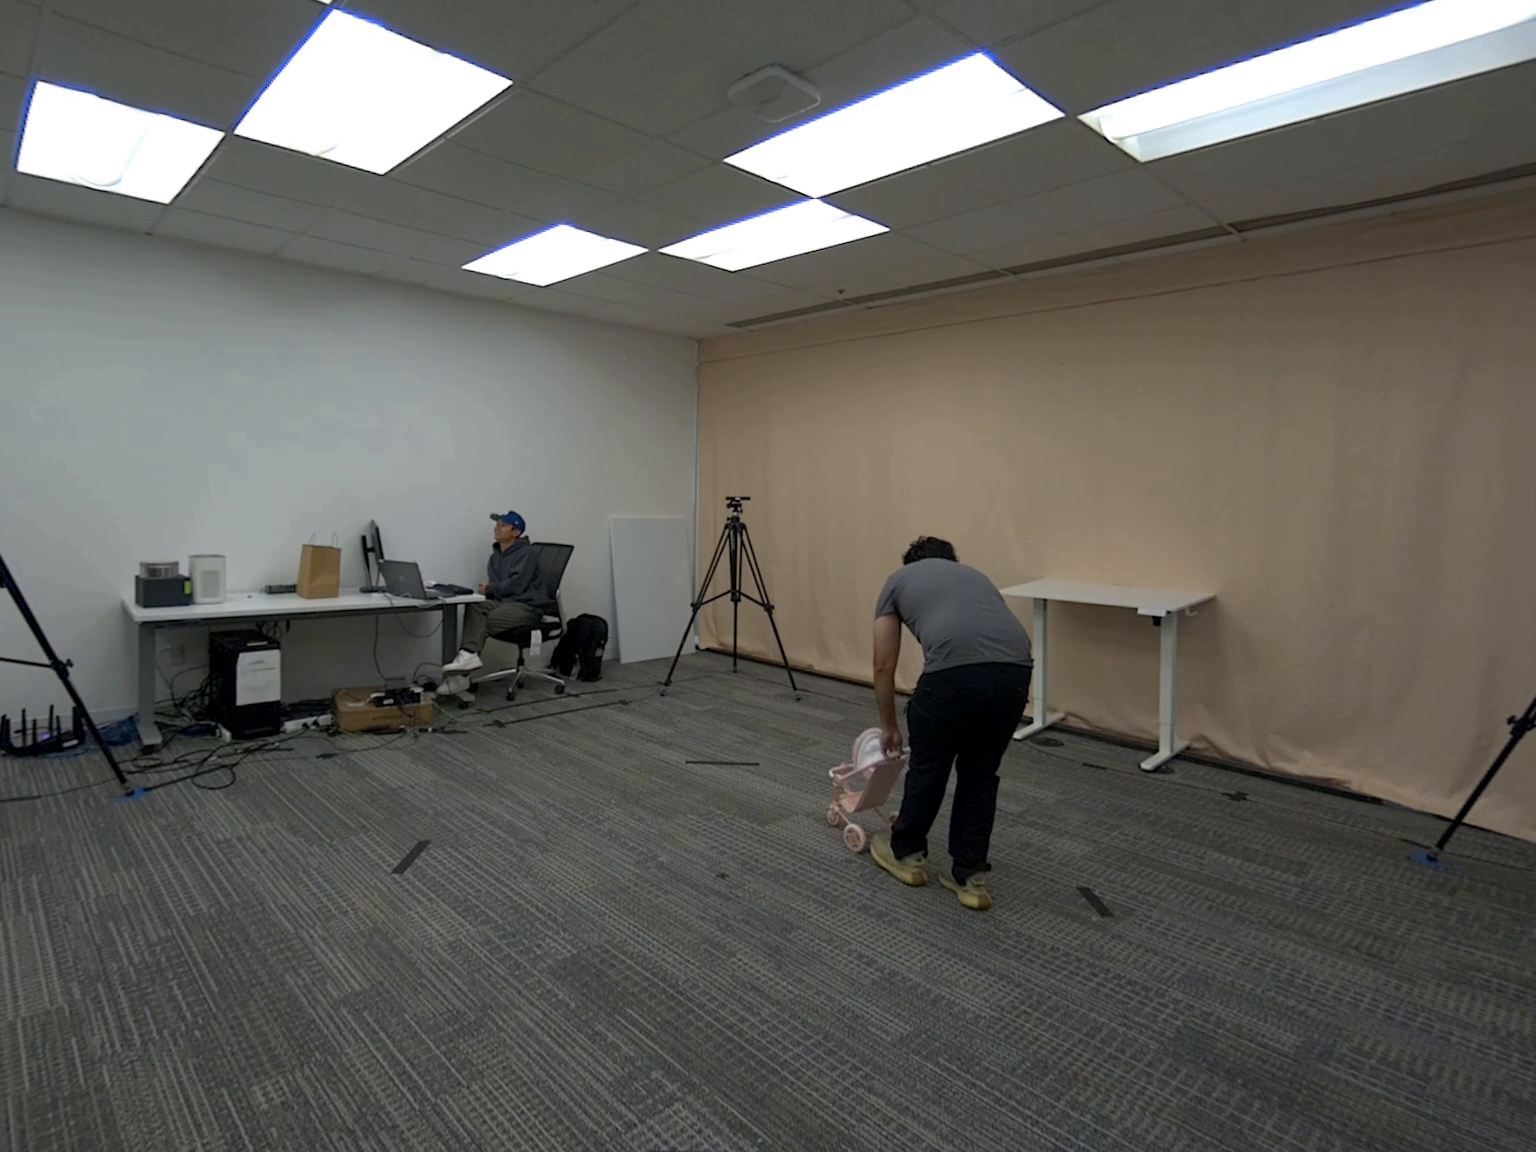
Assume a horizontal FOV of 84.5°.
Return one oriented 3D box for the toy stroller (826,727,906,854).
[{"bbox_3d":[0.401,0.861,3.460,0.275,0.530,0.352,0,19,-35],"label":"toy stroller"}]
